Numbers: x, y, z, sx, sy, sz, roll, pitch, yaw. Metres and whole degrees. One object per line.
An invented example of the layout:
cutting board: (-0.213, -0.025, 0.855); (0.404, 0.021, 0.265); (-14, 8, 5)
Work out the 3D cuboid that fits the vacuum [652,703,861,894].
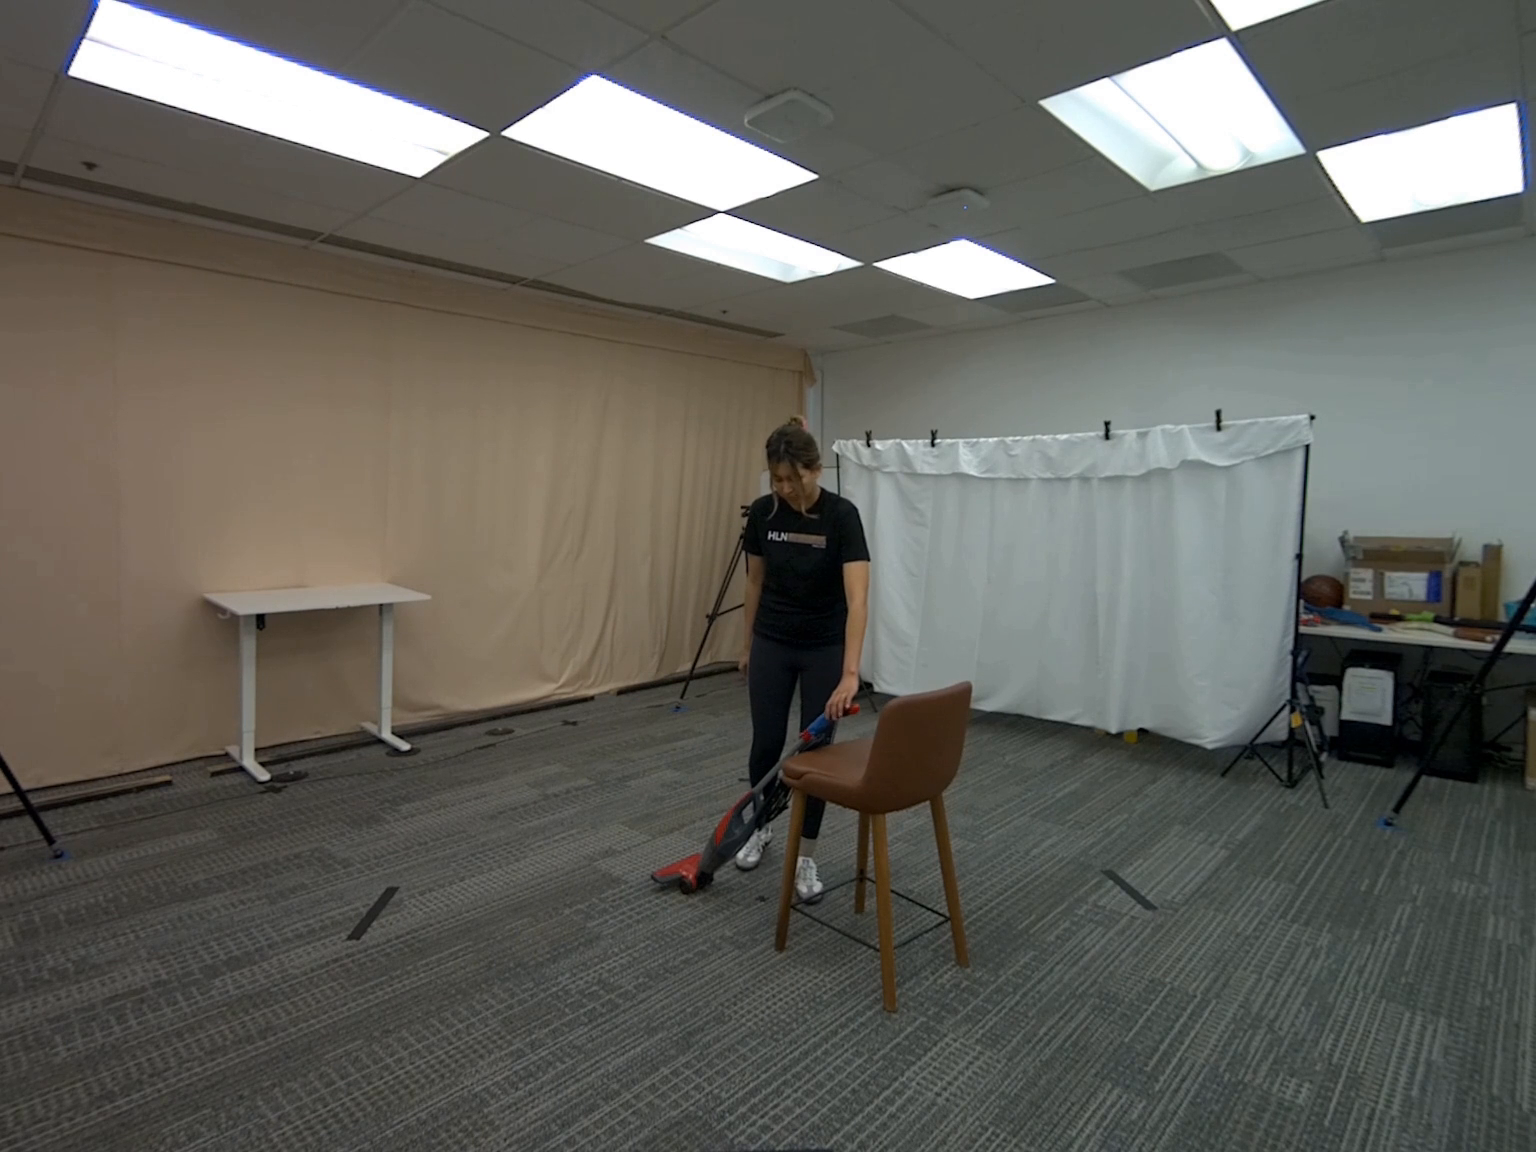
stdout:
vacuum: (-0.025, 0.767, 2.837); (0.245, 0.148, 1.054); (-4, -39, -49)
